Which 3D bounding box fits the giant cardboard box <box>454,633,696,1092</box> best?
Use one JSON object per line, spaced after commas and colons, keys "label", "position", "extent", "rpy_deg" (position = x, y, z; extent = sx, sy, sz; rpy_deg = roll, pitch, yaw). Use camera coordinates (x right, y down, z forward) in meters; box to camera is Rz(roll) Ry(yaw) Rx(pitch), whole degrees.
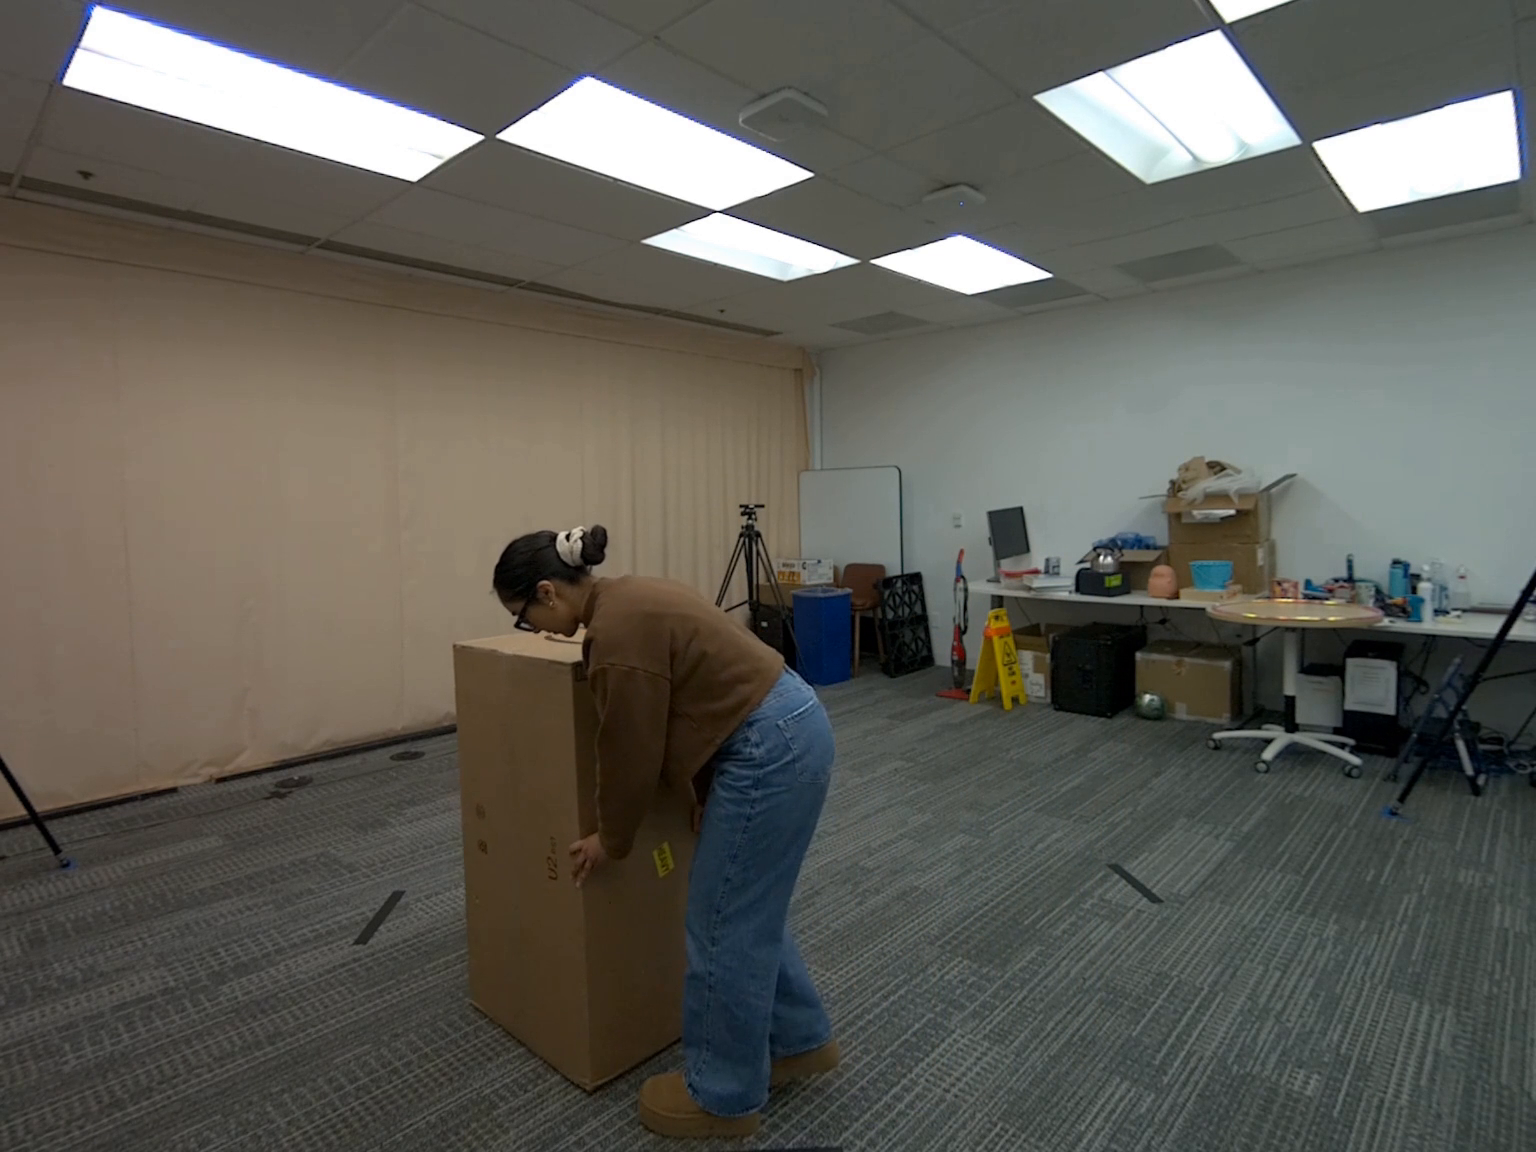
{"label": "giant cardboard box", "position": [-0.511, 0.694, 2.324], "extent": [0.596, 1.025, 0.413], "rpy_deg": [0, 2, 44]}
